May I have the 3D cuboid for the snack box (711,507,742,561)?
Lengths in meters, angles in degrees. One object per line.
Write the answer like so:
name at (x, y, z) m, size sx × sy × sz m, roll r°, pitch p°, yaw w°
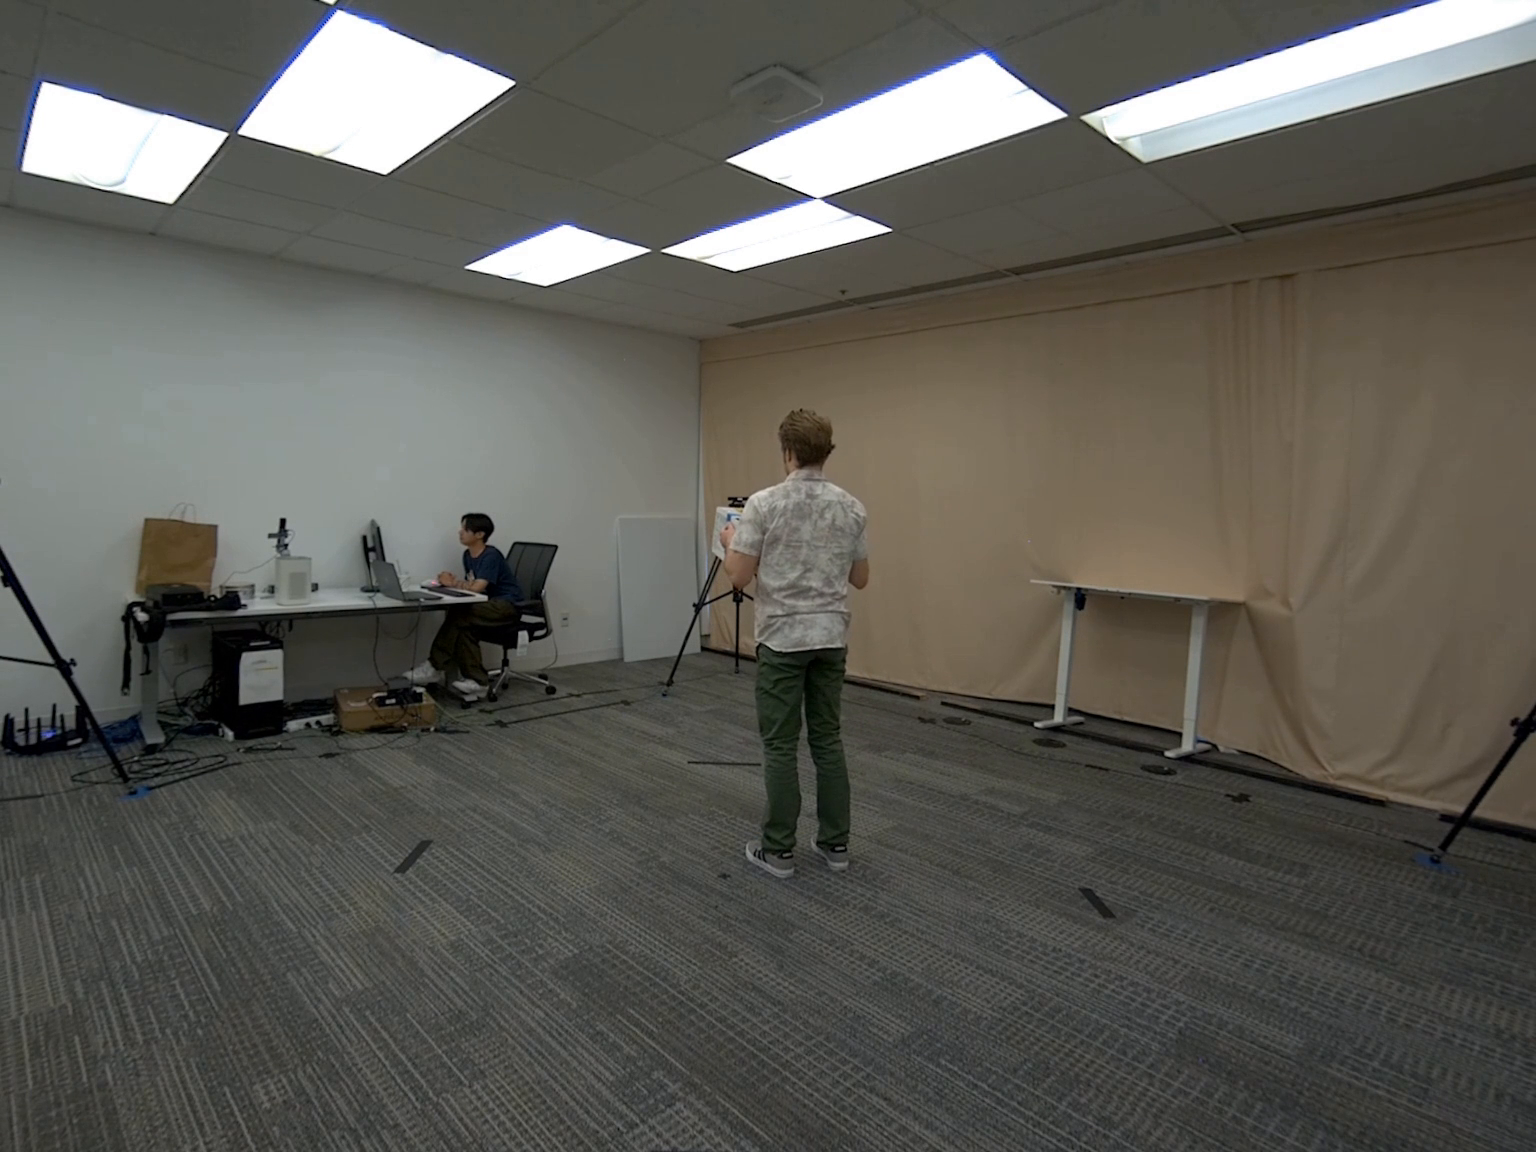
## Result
snack box at (0.013, -0.146, 3.546) m, size 0.399 × 0.204 × 0.349 m, roll 1°, pitch 14°, yaw -21°
